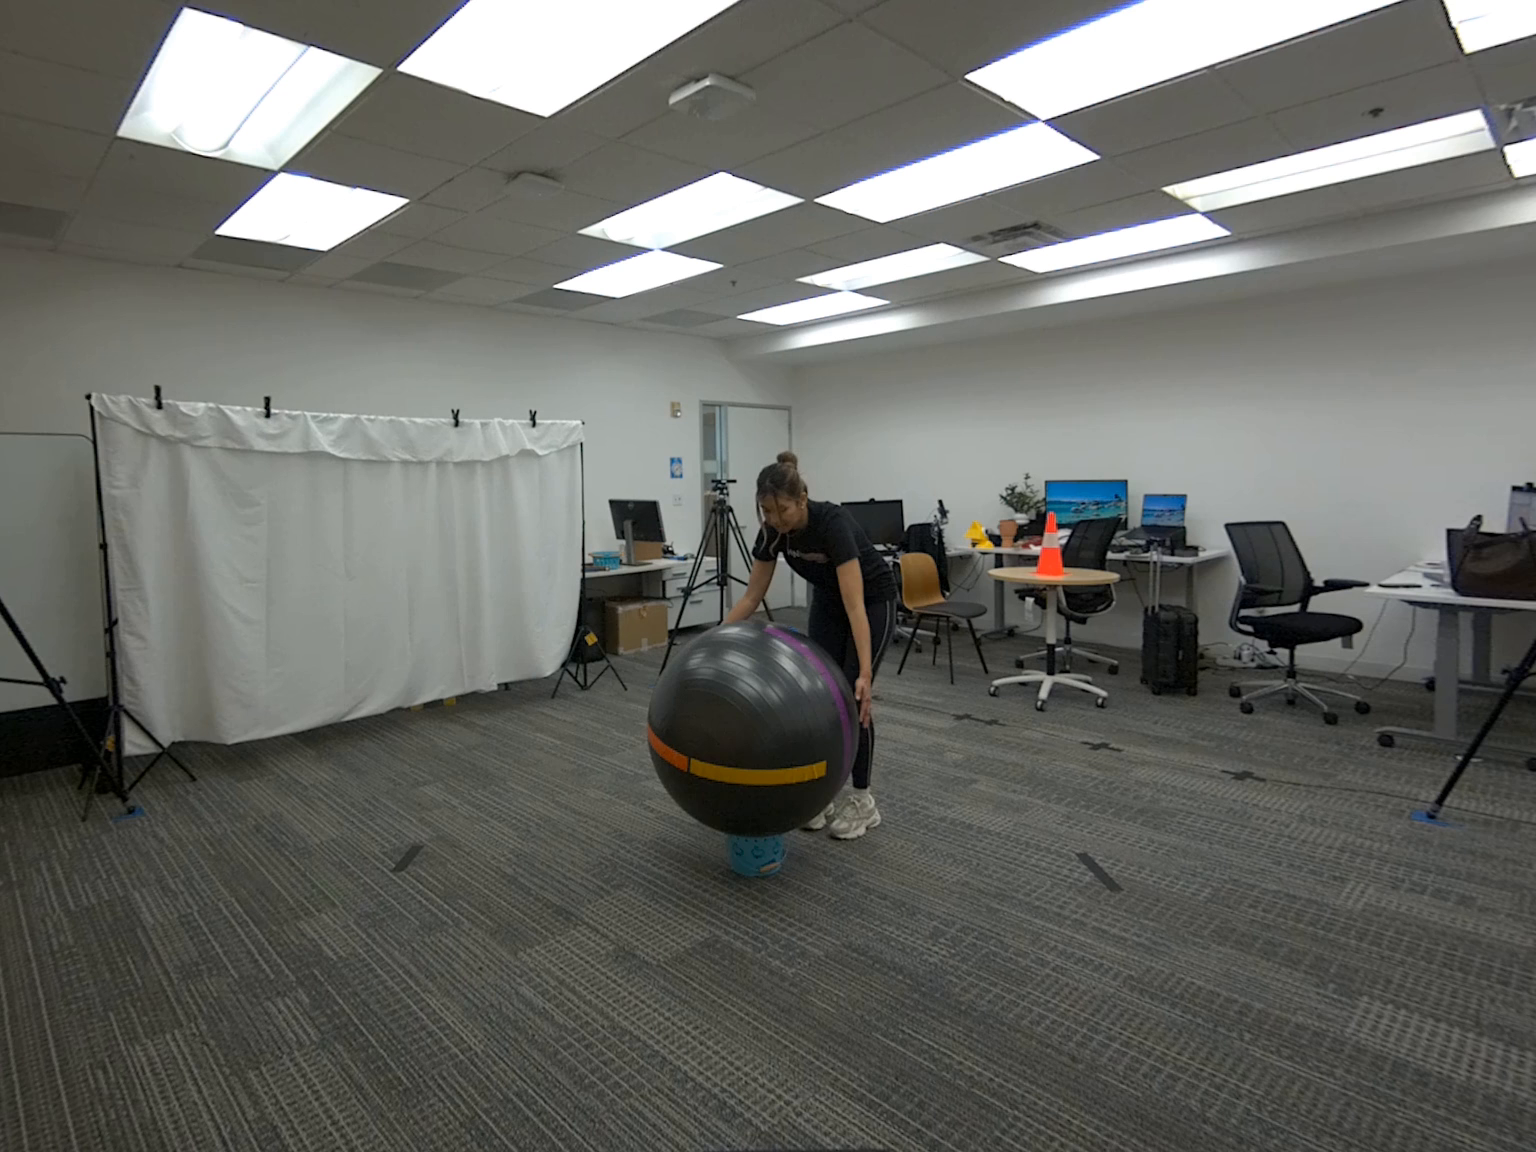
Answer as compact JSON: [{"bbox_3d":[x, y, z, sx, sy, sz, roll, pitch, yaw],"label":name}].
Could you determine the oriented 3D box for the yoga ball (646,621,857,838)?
[{"bbox_3d":[-0.054,0.542,3.070,0.757,0.755,0.762,-1,5,-2],"label":"yoga ball"}]
